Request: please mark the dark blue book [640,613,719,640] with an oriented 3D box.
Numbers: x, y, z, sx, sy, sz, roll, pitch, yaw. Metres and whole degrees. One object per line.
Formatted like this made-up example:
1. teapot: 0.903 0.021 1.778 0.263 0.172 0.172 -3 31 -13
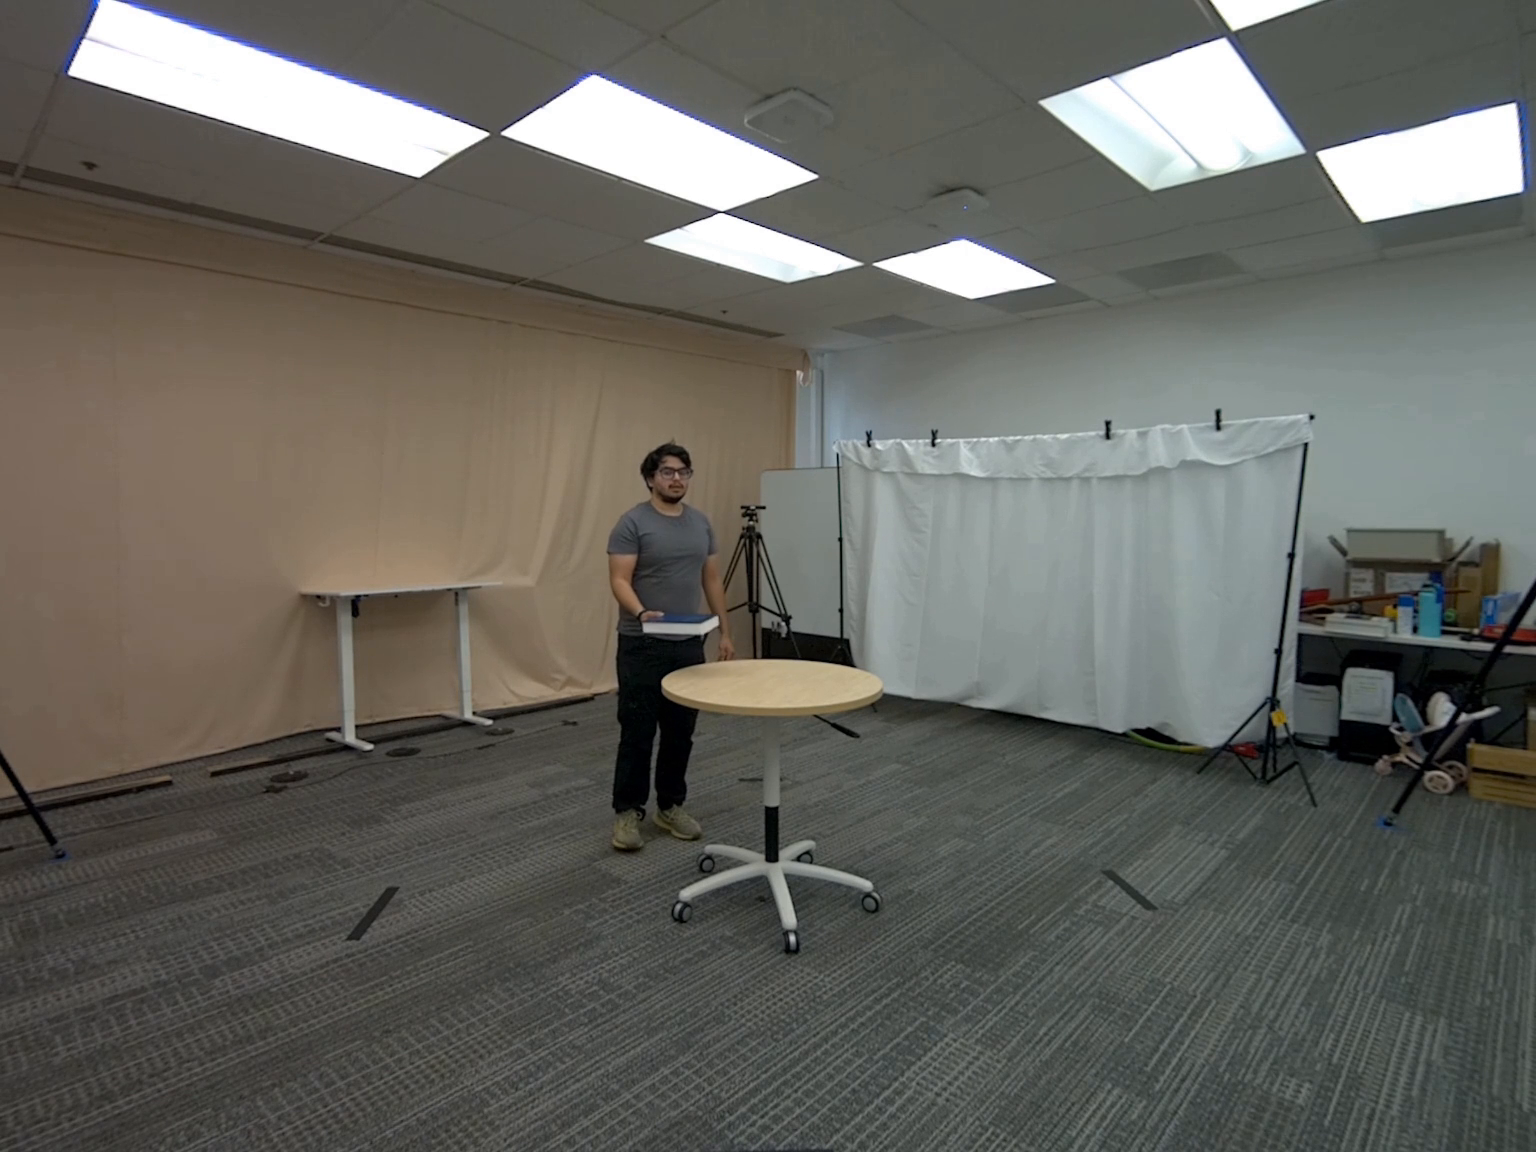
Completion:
1. dark blue book: -0.340 0.182 3.104 0.250 0.045 0.161 -1 10 22
